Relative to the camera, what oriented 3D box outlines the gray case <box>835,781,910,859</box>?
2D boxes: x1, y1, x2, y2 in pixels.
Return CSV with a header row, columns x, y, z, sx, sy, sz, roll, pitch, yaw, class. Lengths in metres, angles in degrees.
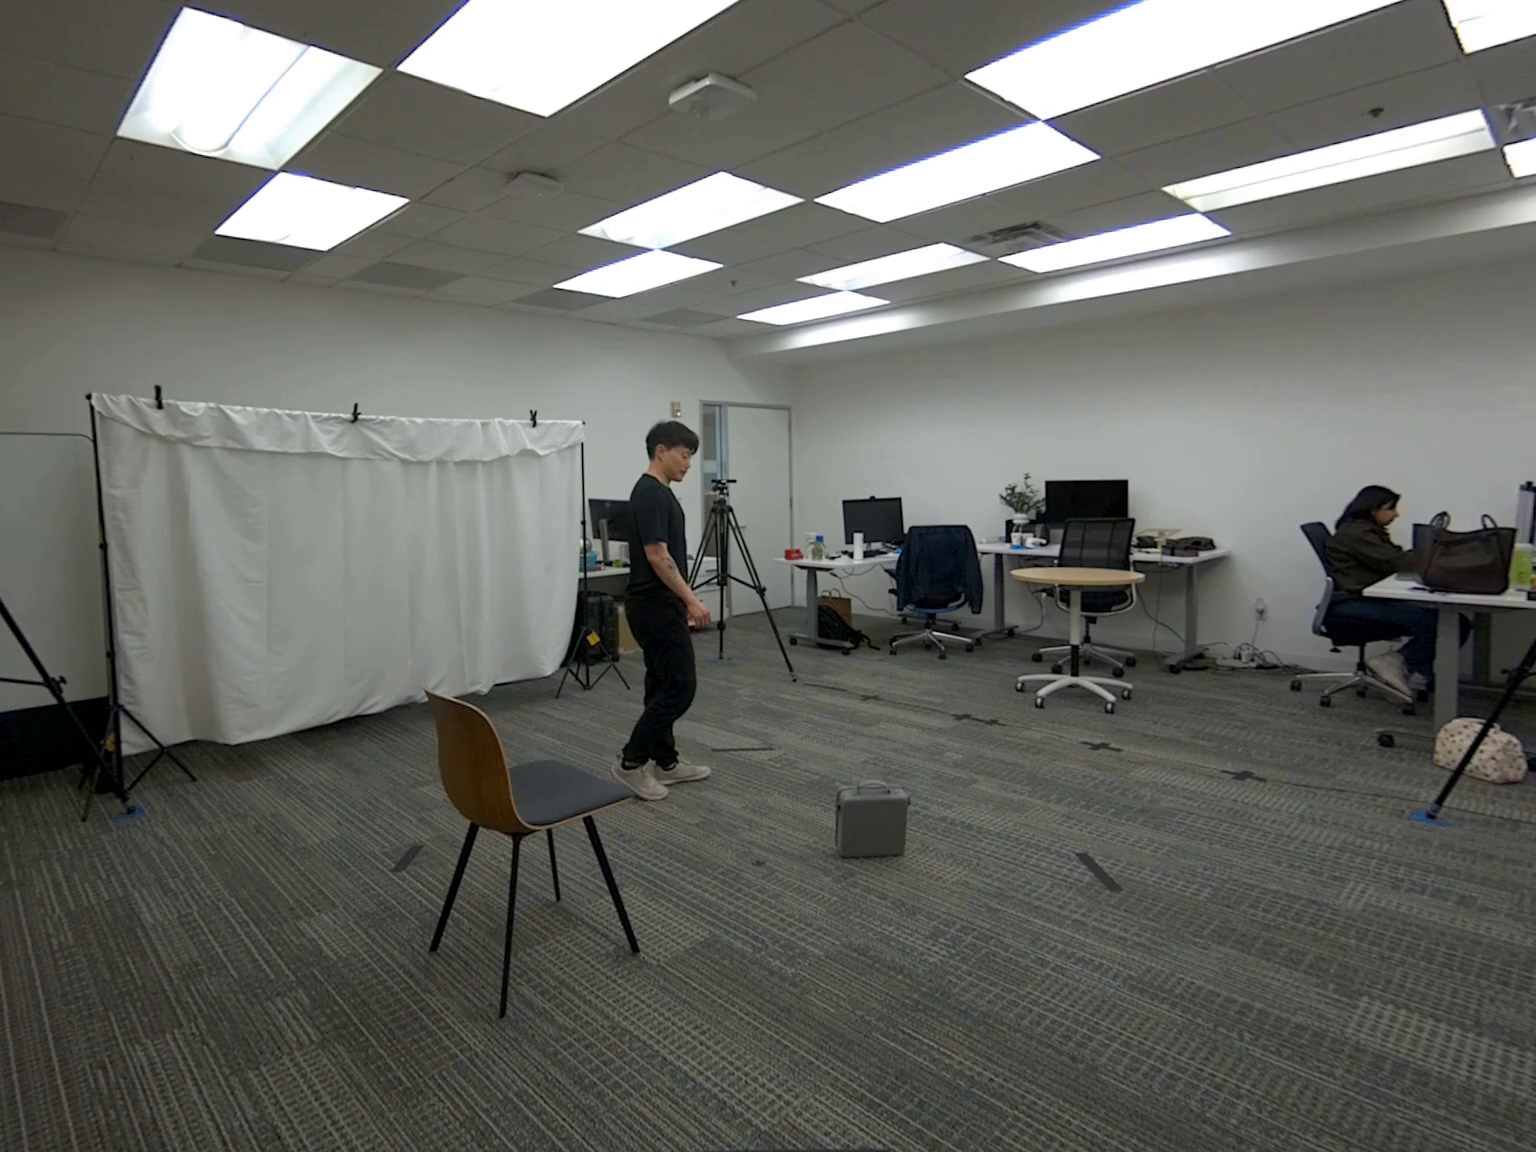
x,y,z,sx,sy,sz,roll,pitch,yaw,class
0.388,0.898,3.157,0.256,0.258,0.106,-2,11,-3,gray case
